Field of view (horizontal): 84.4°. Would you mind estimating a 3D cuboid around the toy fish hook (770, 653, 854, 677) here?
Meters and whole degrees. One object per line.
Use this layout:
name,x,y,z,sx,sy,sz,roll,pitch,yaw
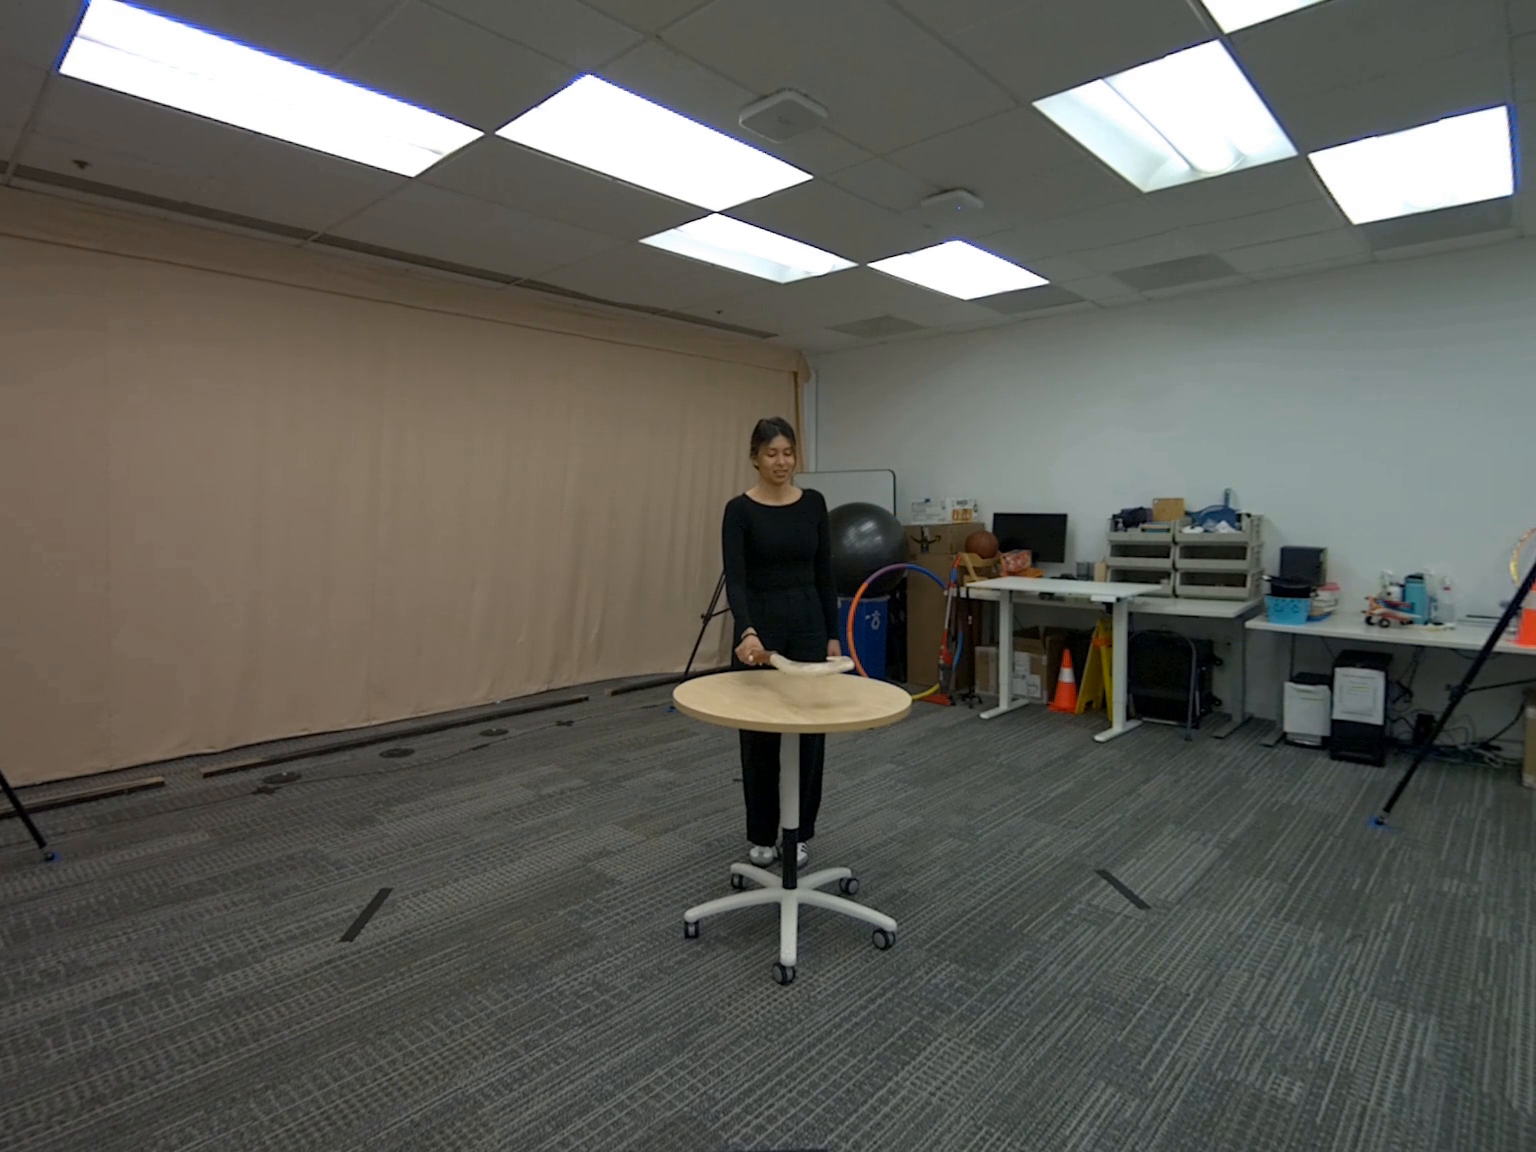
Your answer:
toy fish hook,0.092,0.272,2.716,0.219,0.048,0.520,-2,2,-29
